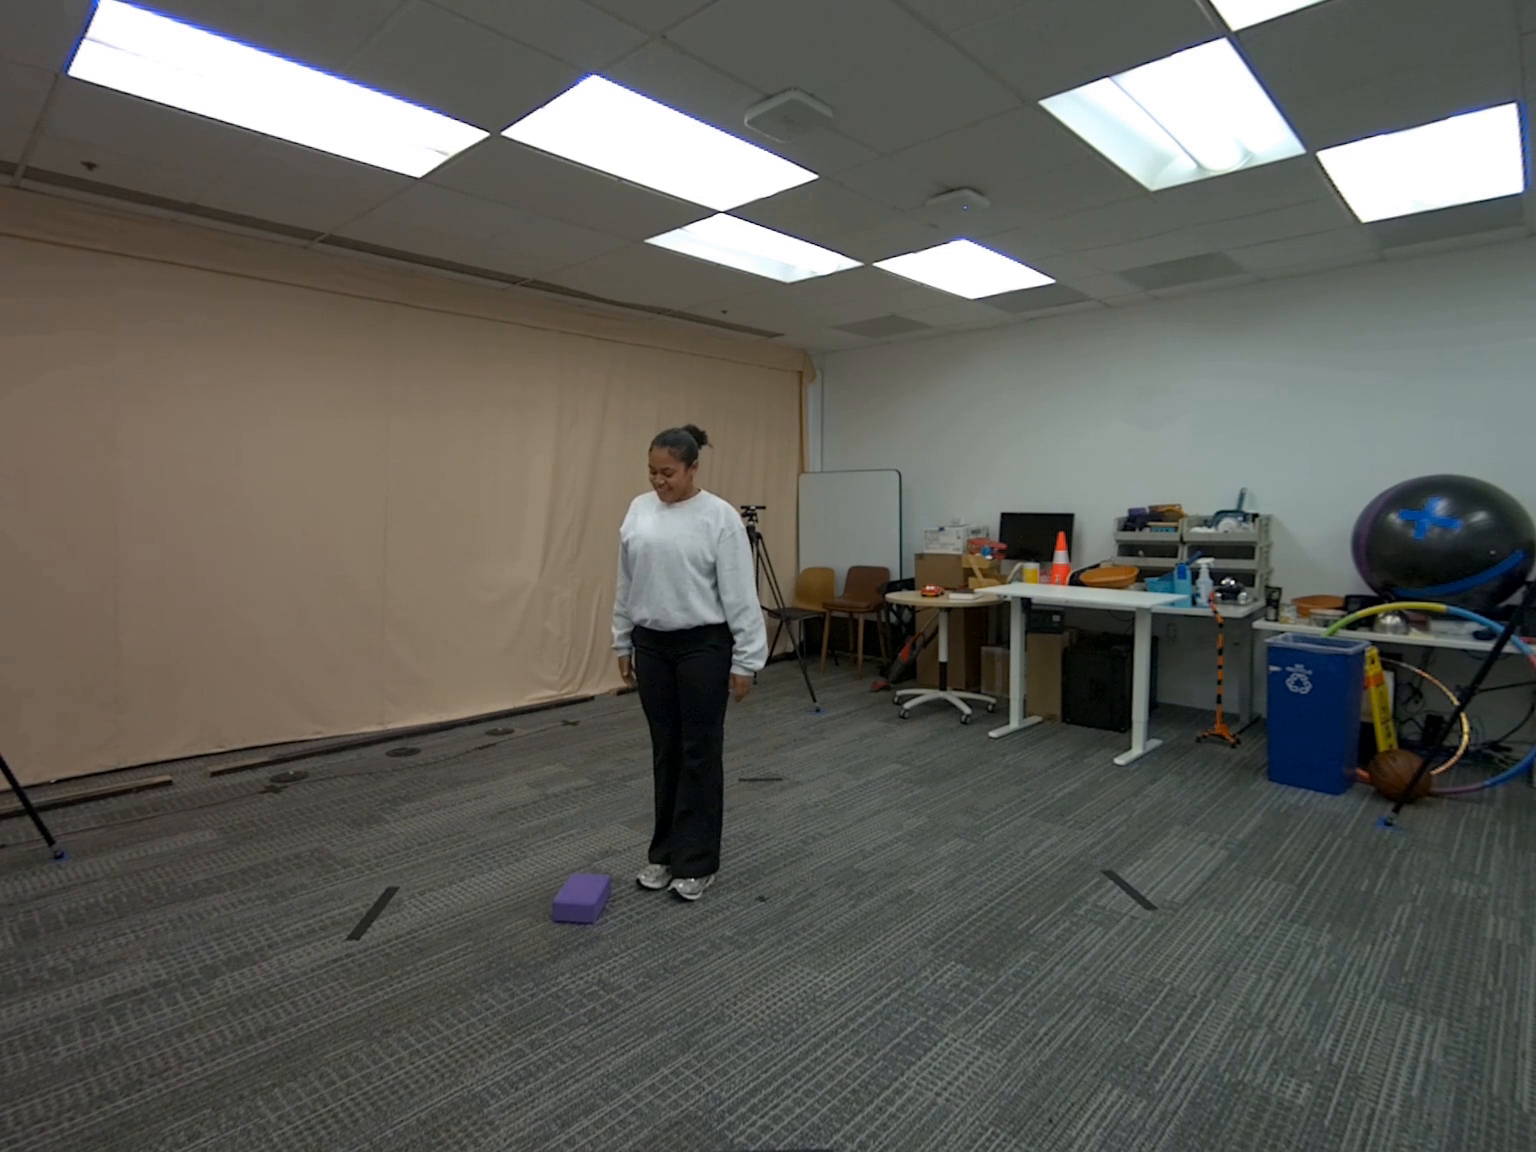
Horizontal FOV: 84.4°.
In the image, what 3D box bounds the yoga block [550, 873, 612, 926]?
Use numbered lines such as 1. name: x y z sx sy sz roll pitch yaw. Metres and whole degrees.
1. yoga block: -0.640 1.113 2.914 0.150 0.076 0.228 1 6 6
